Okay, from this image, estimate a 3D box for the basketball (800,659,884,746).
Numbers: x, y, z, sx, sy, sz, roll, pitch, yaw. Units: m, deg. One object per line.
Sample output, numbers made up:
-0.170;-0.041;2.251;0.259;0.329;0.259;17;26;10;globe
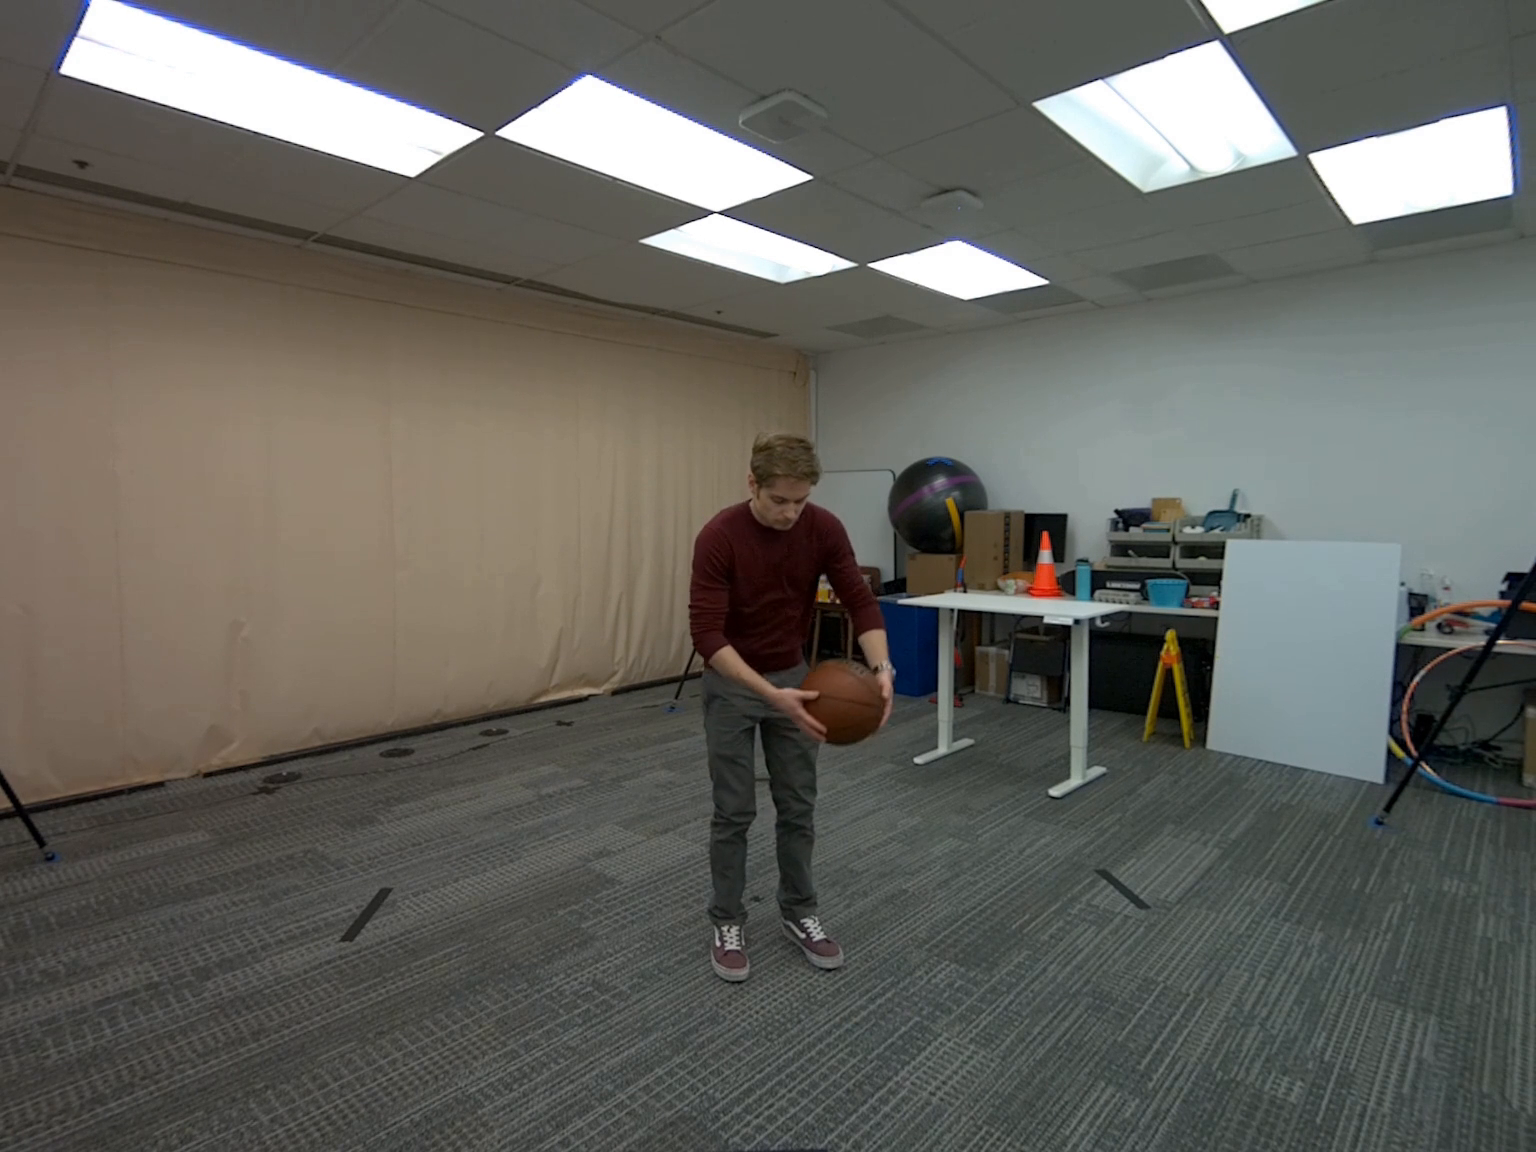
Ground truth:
0.202;0.344;2.369;0.236;0.235;0.237;0;4;-2;basketball
